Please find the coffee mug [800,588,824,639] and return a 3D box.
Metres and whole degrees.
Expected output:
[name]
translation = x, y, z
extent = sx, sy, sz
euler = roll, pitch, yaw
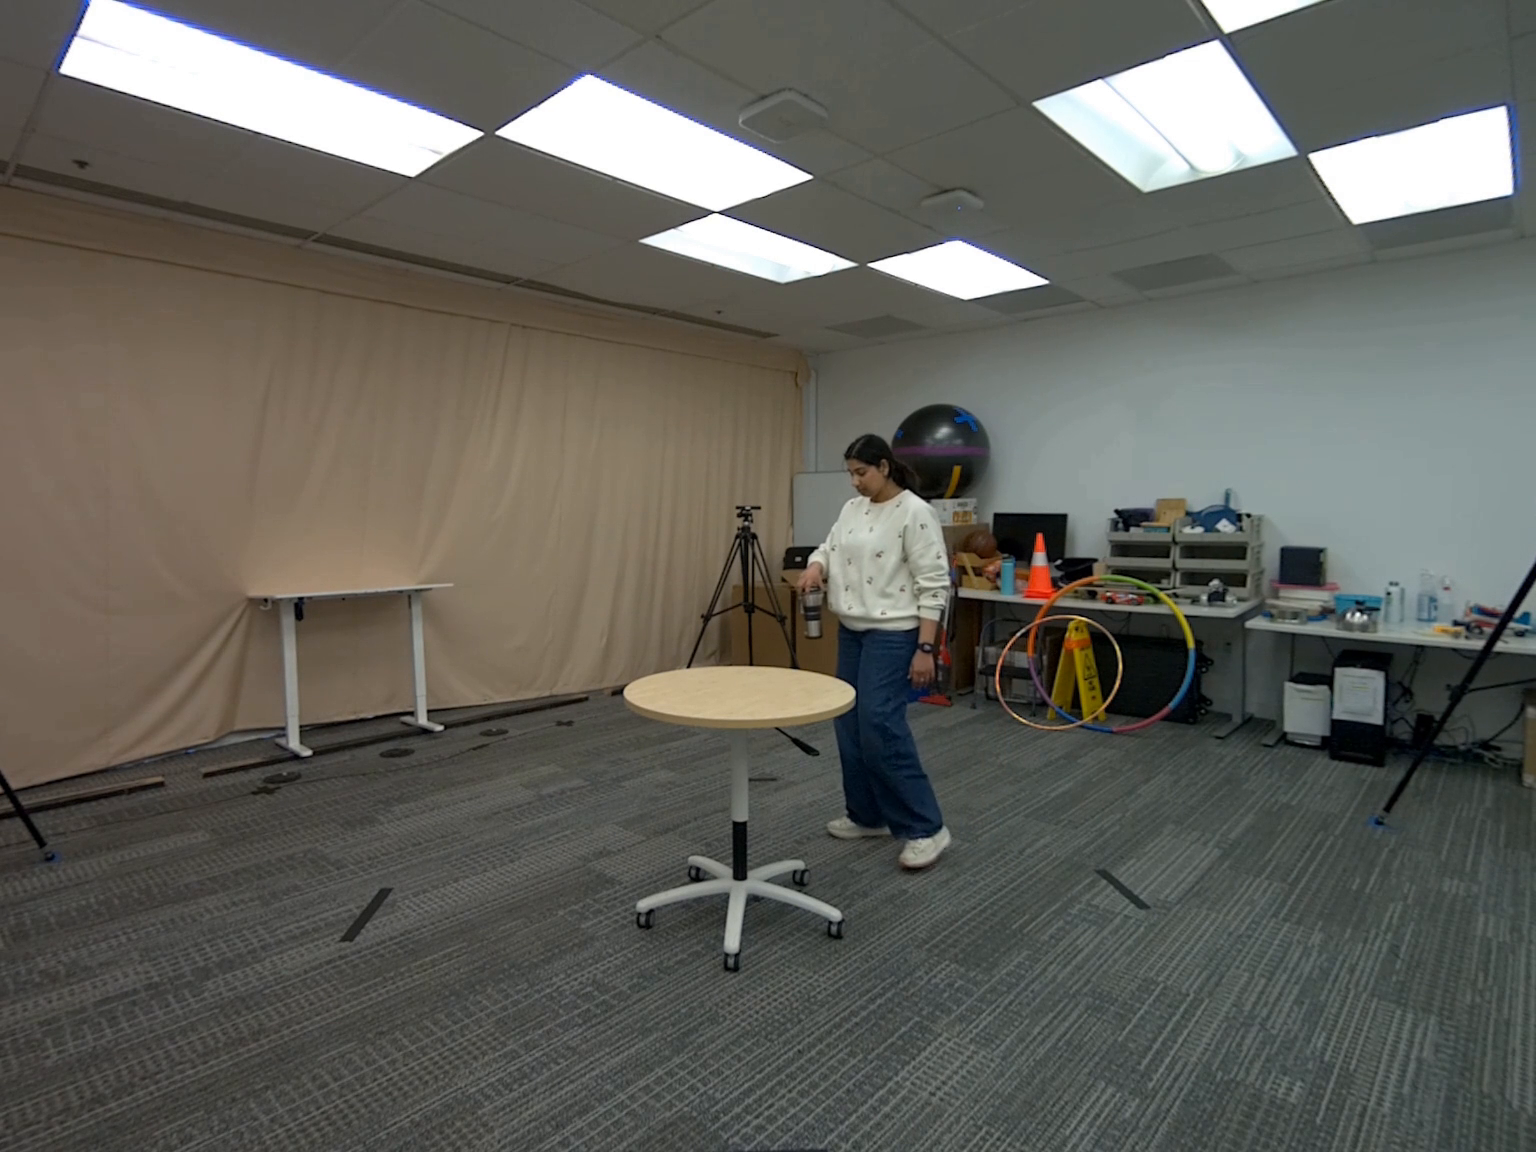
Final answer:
[coffee mug]
translation = 0.203, 0.151, 3.418
extent = 0.090, 0.203, 0.119
euler = -5, 2, 31
